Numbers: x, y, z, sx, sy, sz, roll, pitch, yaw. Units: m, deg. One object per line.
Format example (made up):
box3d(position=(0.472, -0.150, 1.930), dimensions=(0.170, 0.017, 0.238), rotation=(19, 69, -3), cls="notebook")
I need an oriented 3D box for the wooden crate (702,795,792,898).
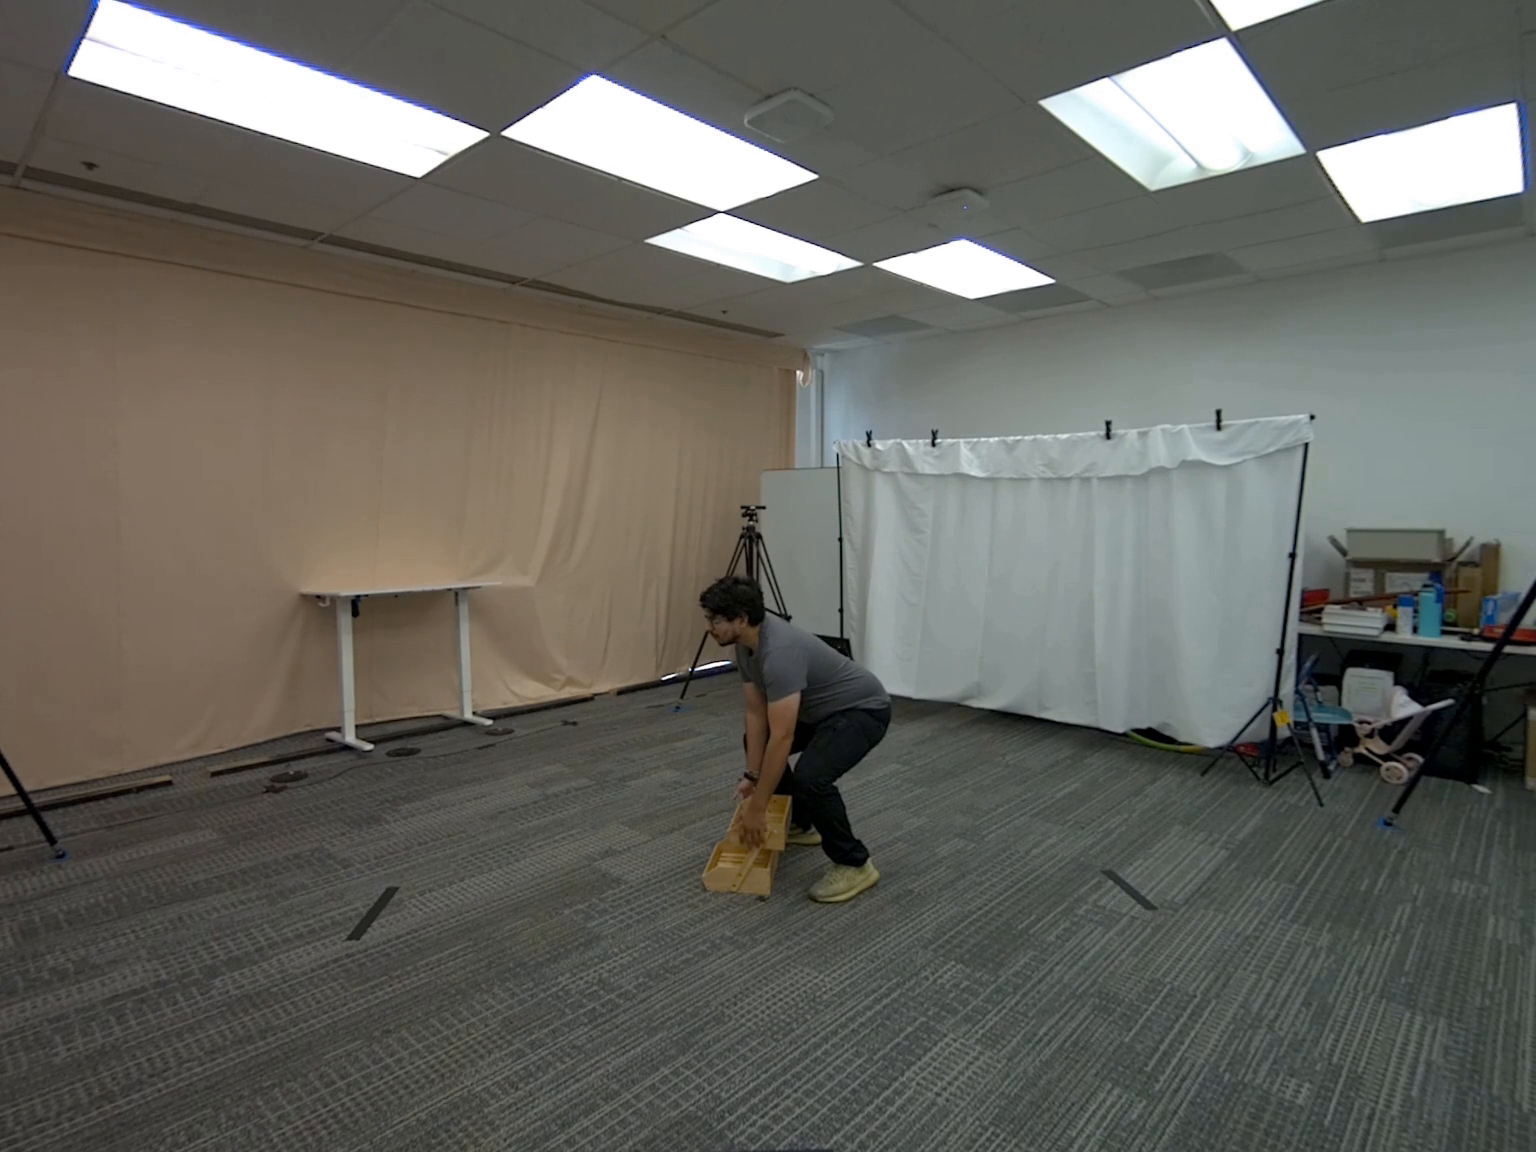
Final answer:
box3d(position=(-0.078, 0.997, 3.171), dimensions=(0.305, 0.273, 0.322), rotation=(2, 4, 8), cls="wooden crate")
